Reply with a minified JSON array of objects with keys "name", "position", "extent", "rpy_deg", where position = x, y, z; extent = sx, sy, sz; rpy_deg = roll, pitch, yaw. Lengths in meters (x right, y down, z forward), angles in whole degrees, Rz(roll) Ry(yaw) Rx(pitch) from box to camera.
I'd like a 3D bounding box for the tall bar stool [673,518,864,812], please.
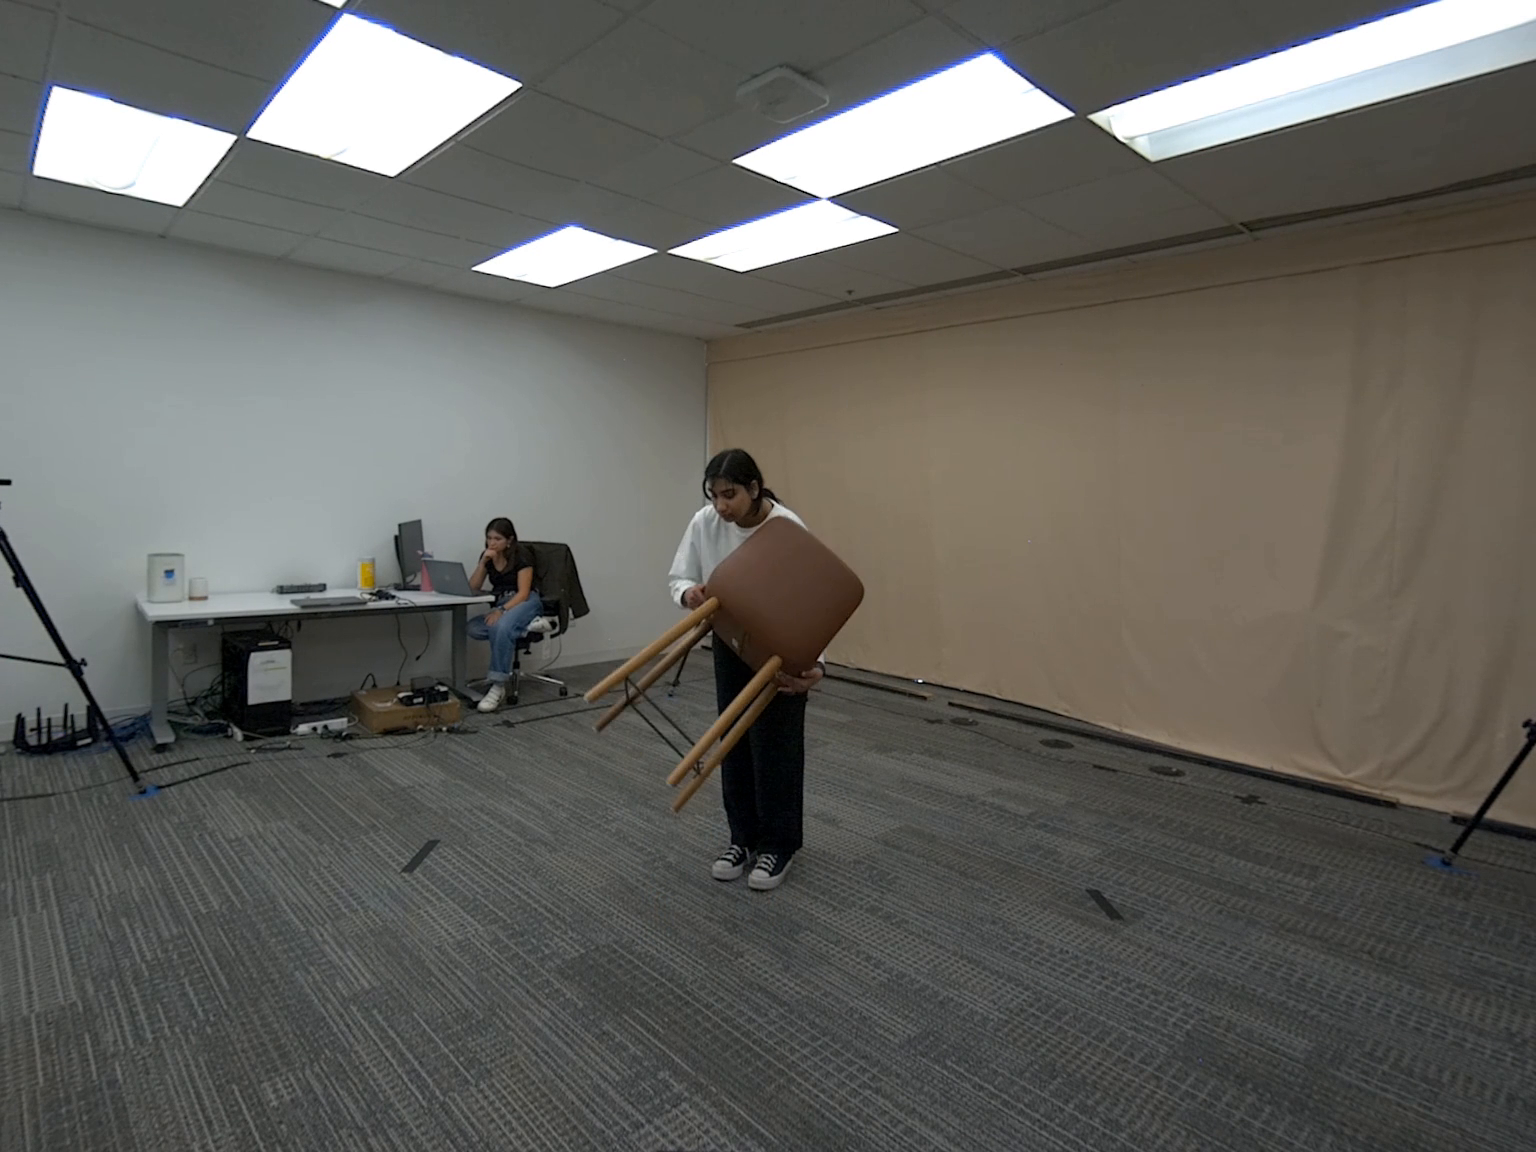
[{"name":"tall bar stool","position":[-0.152,0.287,2.763],"extent":[0.463,0.889,0.461],"rpy_deg":[40,-19,13]}]
